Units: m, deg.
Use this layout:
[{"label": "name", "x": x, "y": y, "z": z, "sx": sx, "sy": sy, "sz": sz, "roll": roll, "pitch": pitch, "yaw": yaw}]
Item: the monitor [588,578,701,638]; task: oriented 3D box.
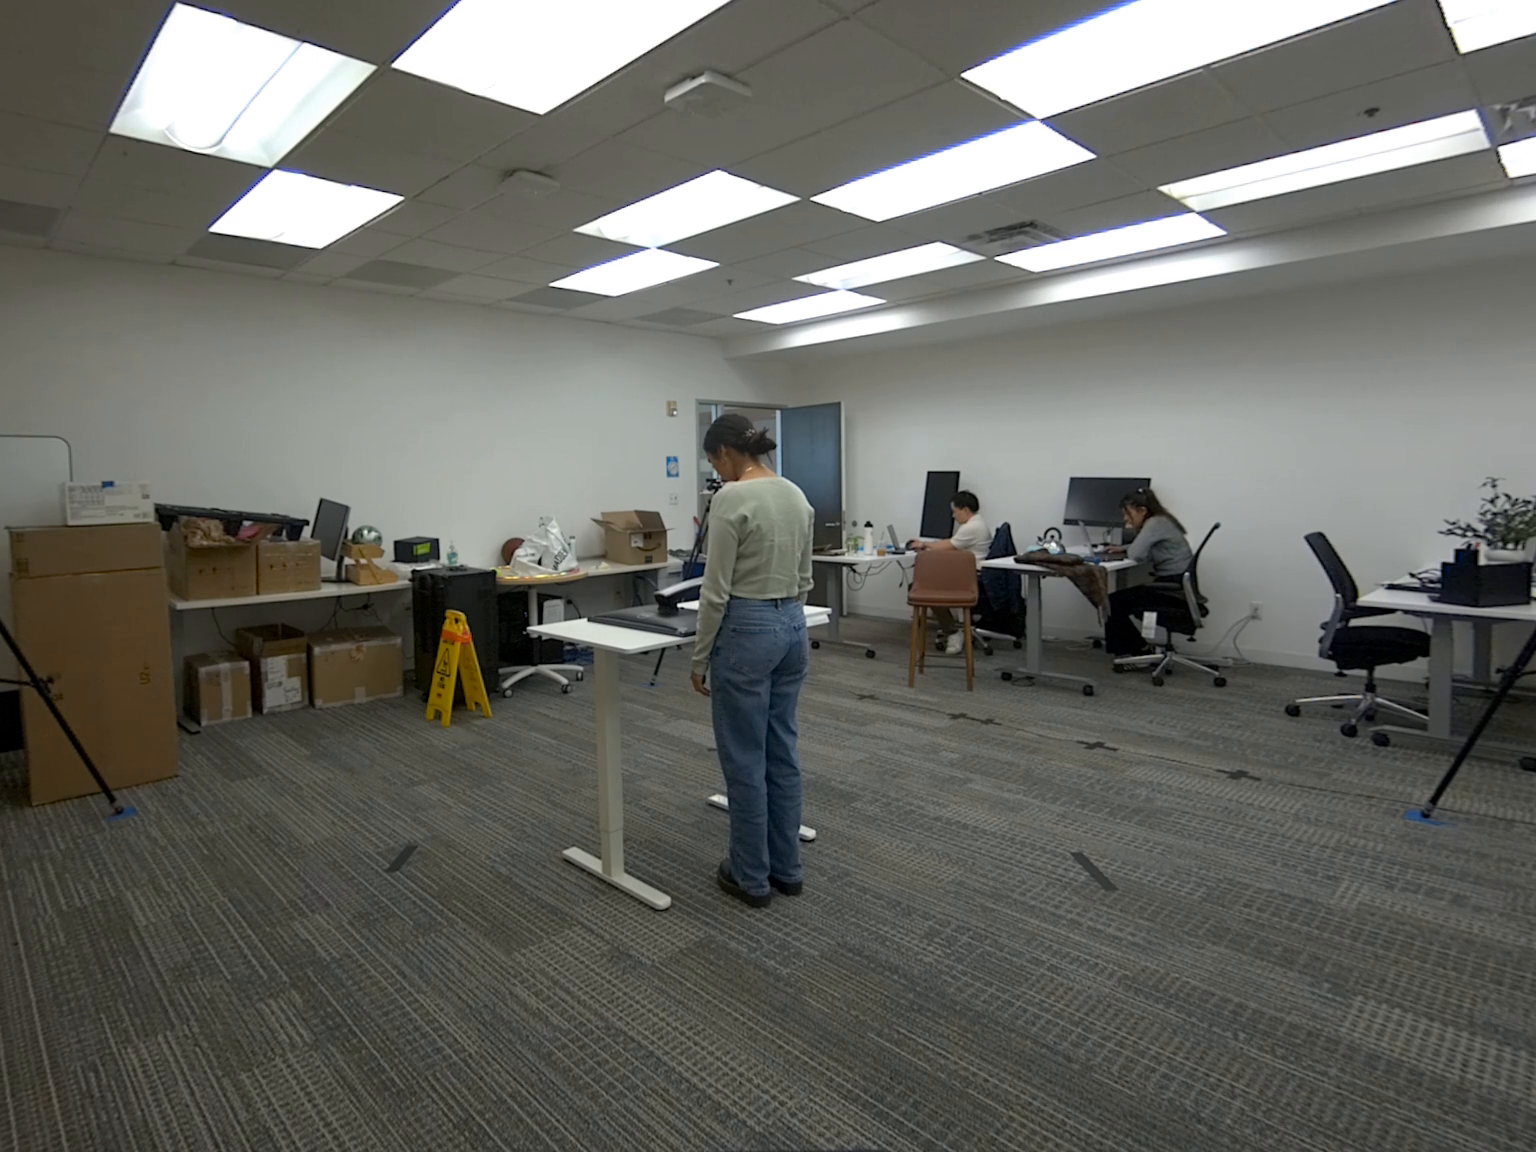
[{"label": "monitor", "x": -0.301, "y": 0.102, "z": 3.151, "sx": 0.554, "sy": 0.184, "sz": 0.515, "roll": 0, "pitch": 20, "yaw": 45}]
